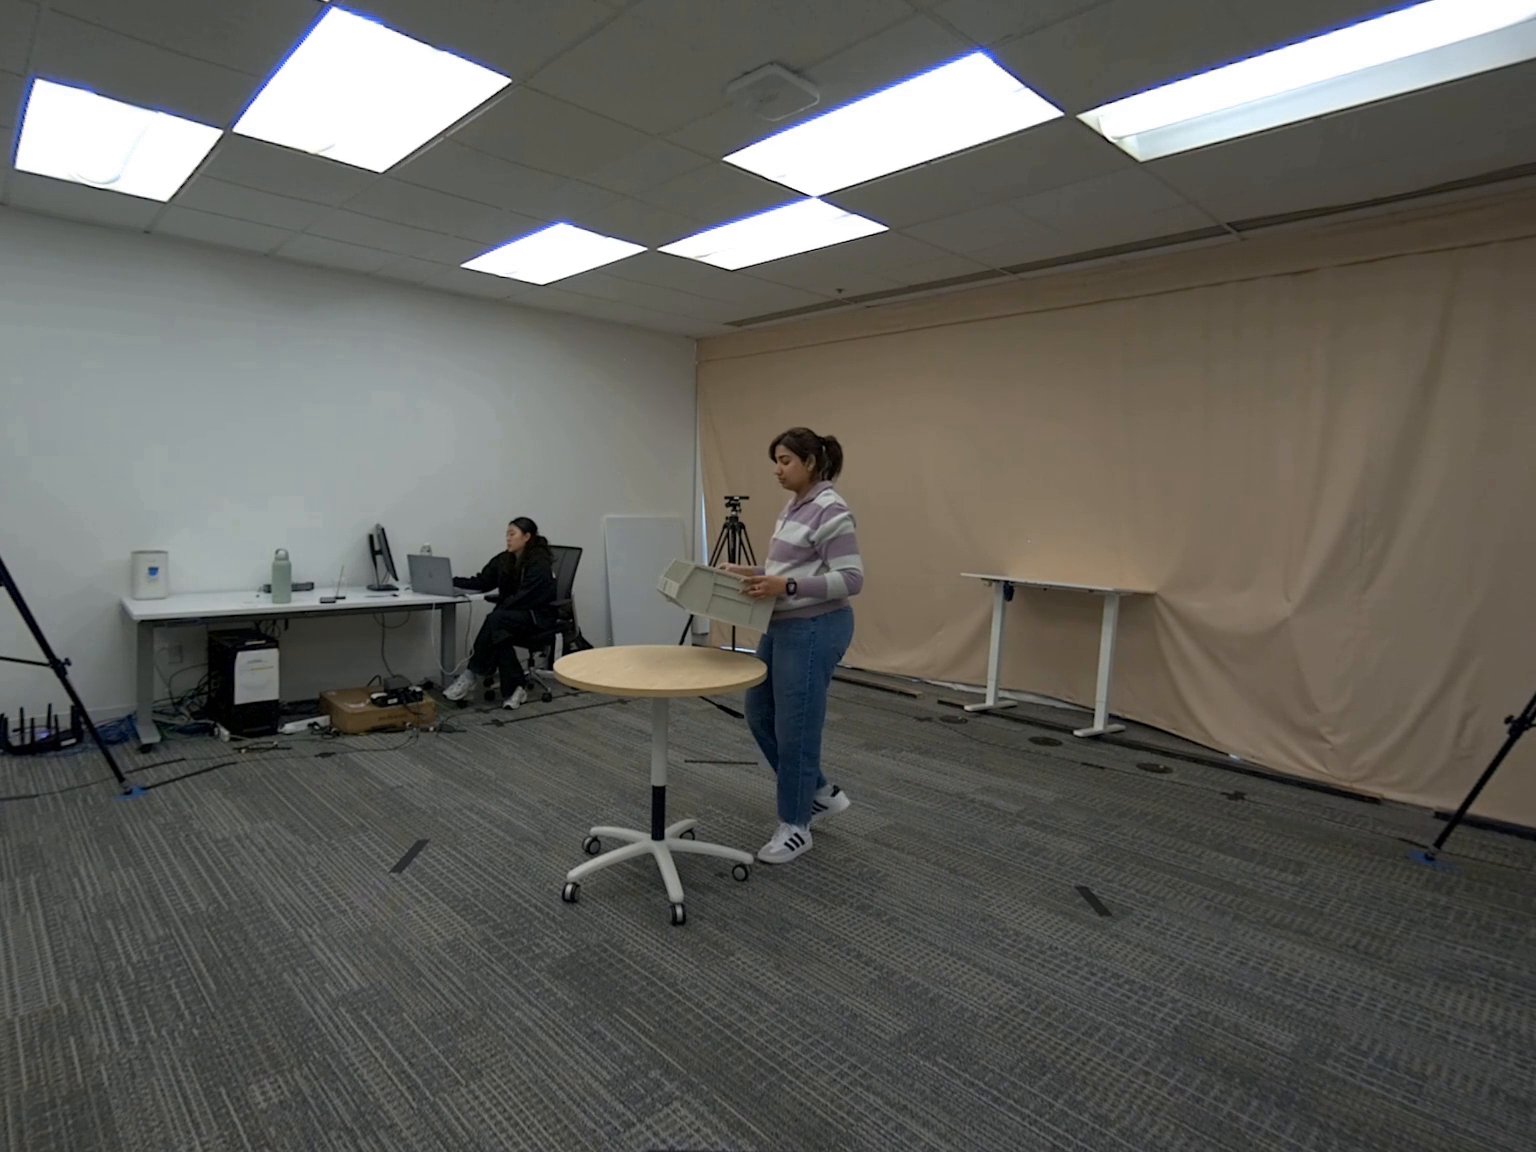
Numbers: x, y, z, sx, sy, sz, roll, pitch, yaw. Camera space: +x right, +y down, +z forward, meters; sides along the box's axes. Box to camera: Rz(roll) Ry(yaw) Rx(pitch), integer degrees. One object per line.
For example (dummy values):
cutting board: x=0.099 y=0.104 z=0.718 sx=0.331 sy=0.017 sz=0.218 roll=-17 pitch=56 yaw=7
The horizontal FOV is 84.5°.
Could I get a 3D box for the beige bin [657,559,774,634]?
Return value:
beige bin: x=-0.205 y=0.068 z=3.202 sx=0.371 sy=0.189 sz=0.428 roll=17 pitch=-2 yaw=-17
